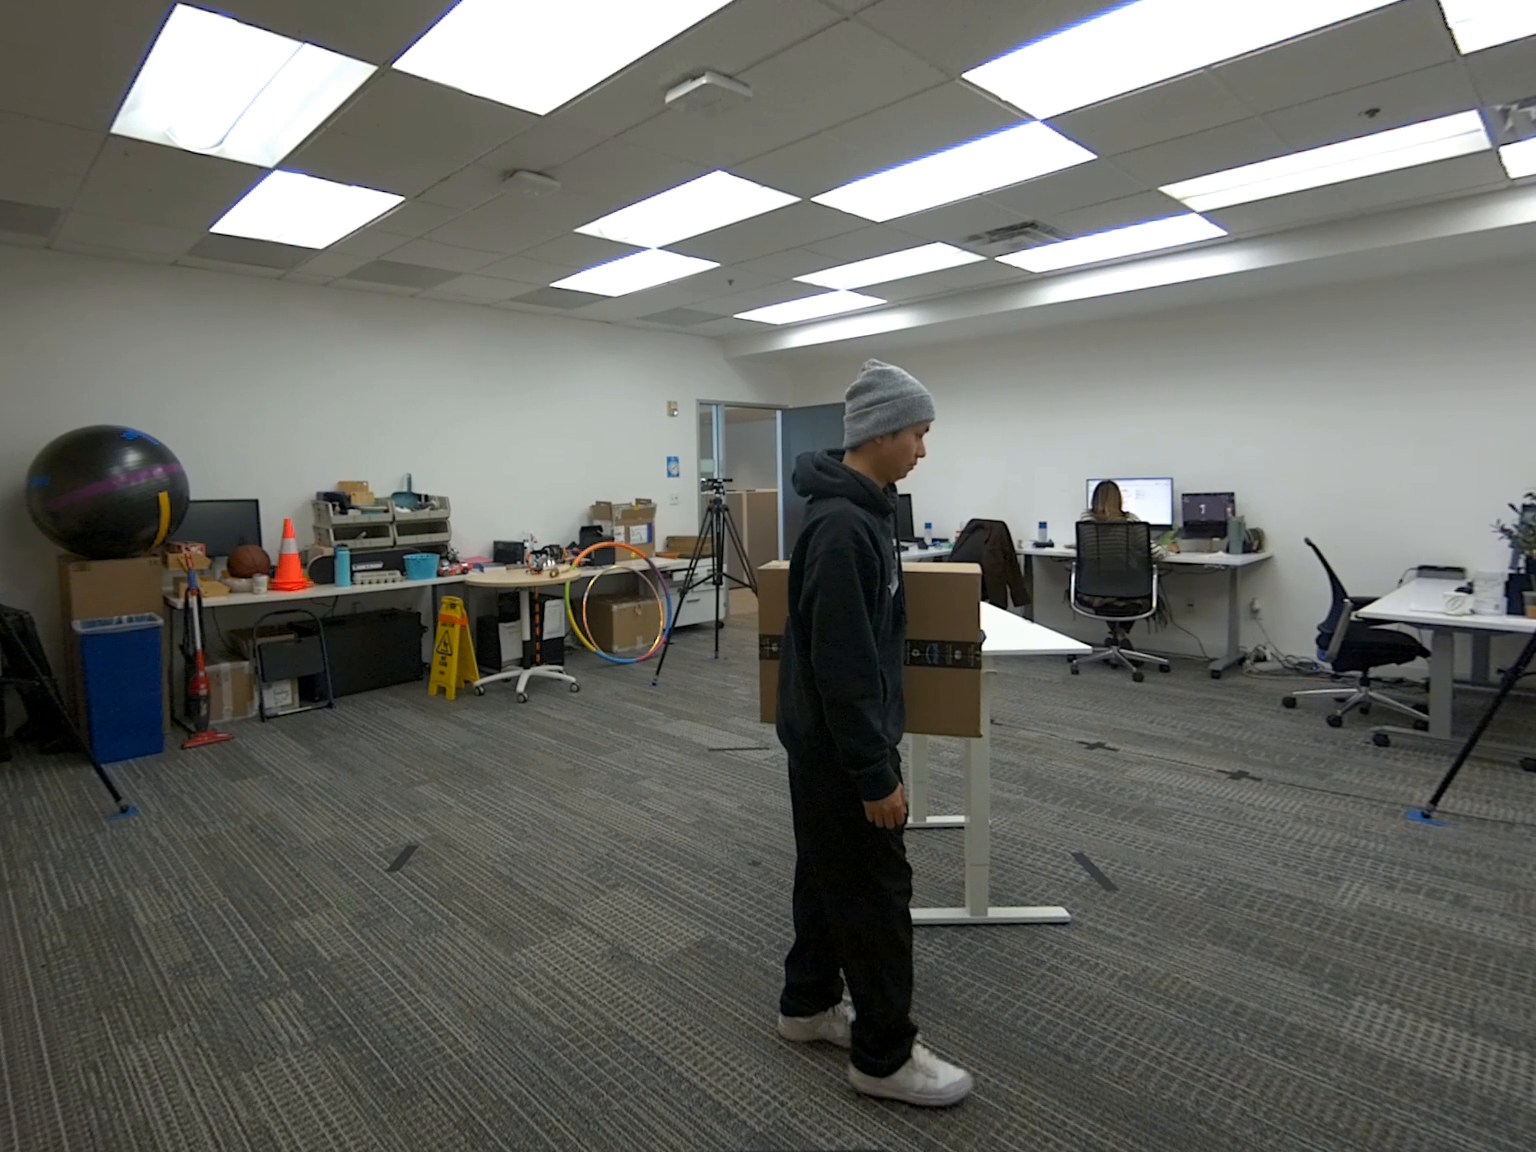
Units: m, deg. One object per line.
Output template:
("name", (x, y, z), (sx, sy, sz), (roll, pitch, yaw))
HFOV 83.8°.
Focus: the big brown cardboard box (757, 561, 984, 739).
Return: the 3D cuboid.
("big brown cardboard box", (0.285, 0.179, 2.271), (0.596, 0.416, 0.231), (1, 3, 12))
